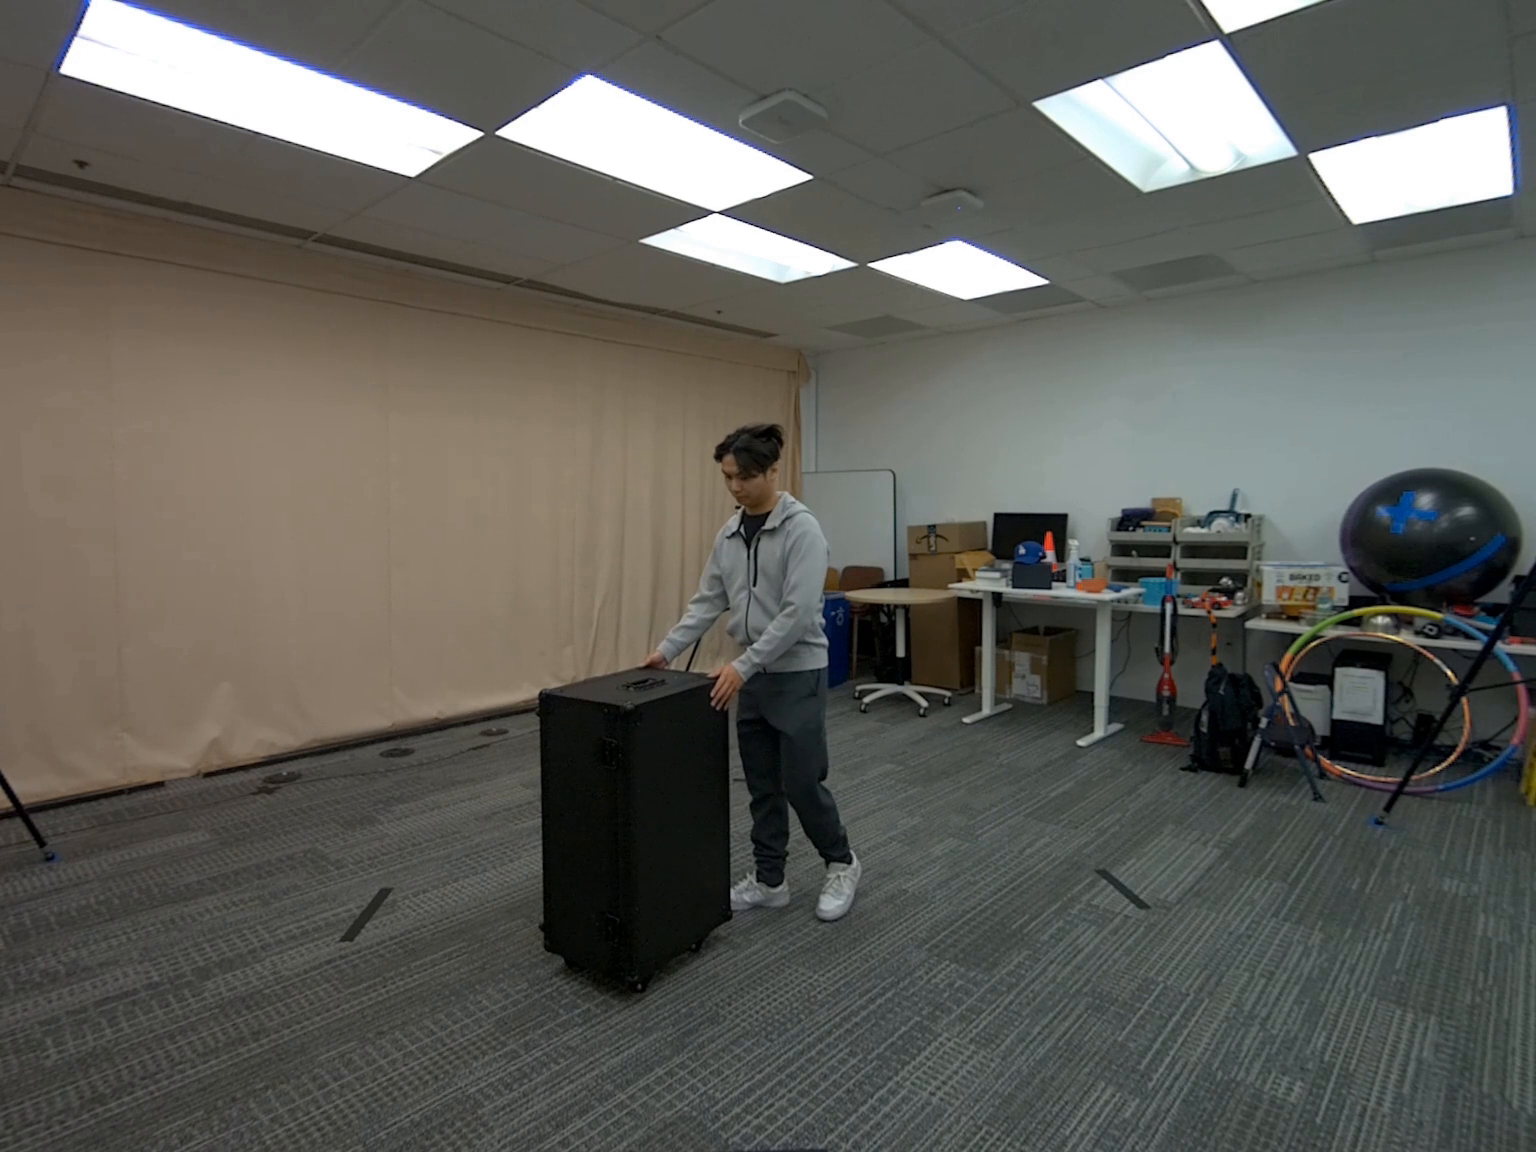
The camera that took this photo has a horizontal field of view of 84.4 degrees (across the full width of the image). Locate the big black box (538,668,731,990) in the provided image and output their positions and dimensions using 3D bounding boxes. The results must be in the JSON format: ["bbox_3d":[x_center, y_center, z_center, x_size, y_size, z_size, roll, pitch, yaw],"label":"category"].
[{"bbox_3d":[-0.408,0.757,2.585,0.408,0.860,0.506,1,3,34],"label":"big black box"}]
